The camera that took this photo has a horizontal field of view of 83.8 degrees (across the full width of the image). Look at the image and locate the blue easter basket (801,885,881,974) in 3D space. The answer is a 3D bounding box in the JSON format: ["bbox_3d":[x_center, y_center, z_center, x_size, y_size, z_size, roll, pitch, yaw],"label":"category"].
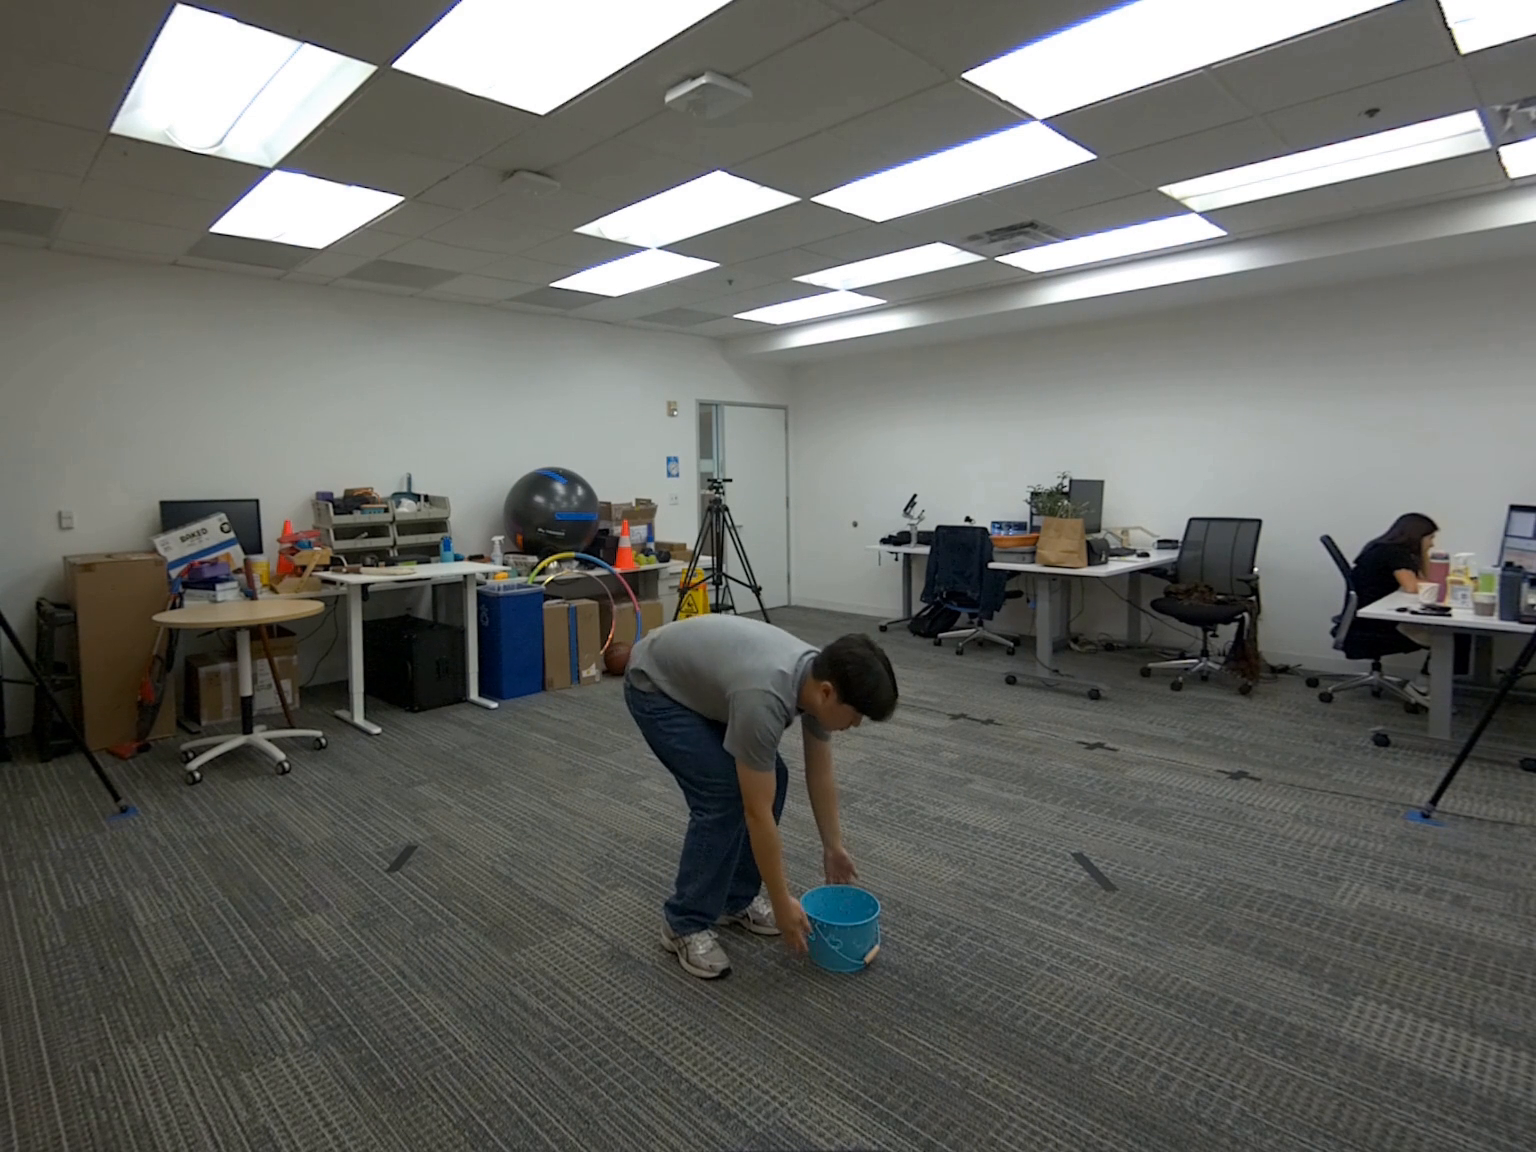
[{"bbox_3d":[0.212,1.030,2.491,0.243,0.155,0.245,-1,6,-2],"label":"blue easter basket"}]
